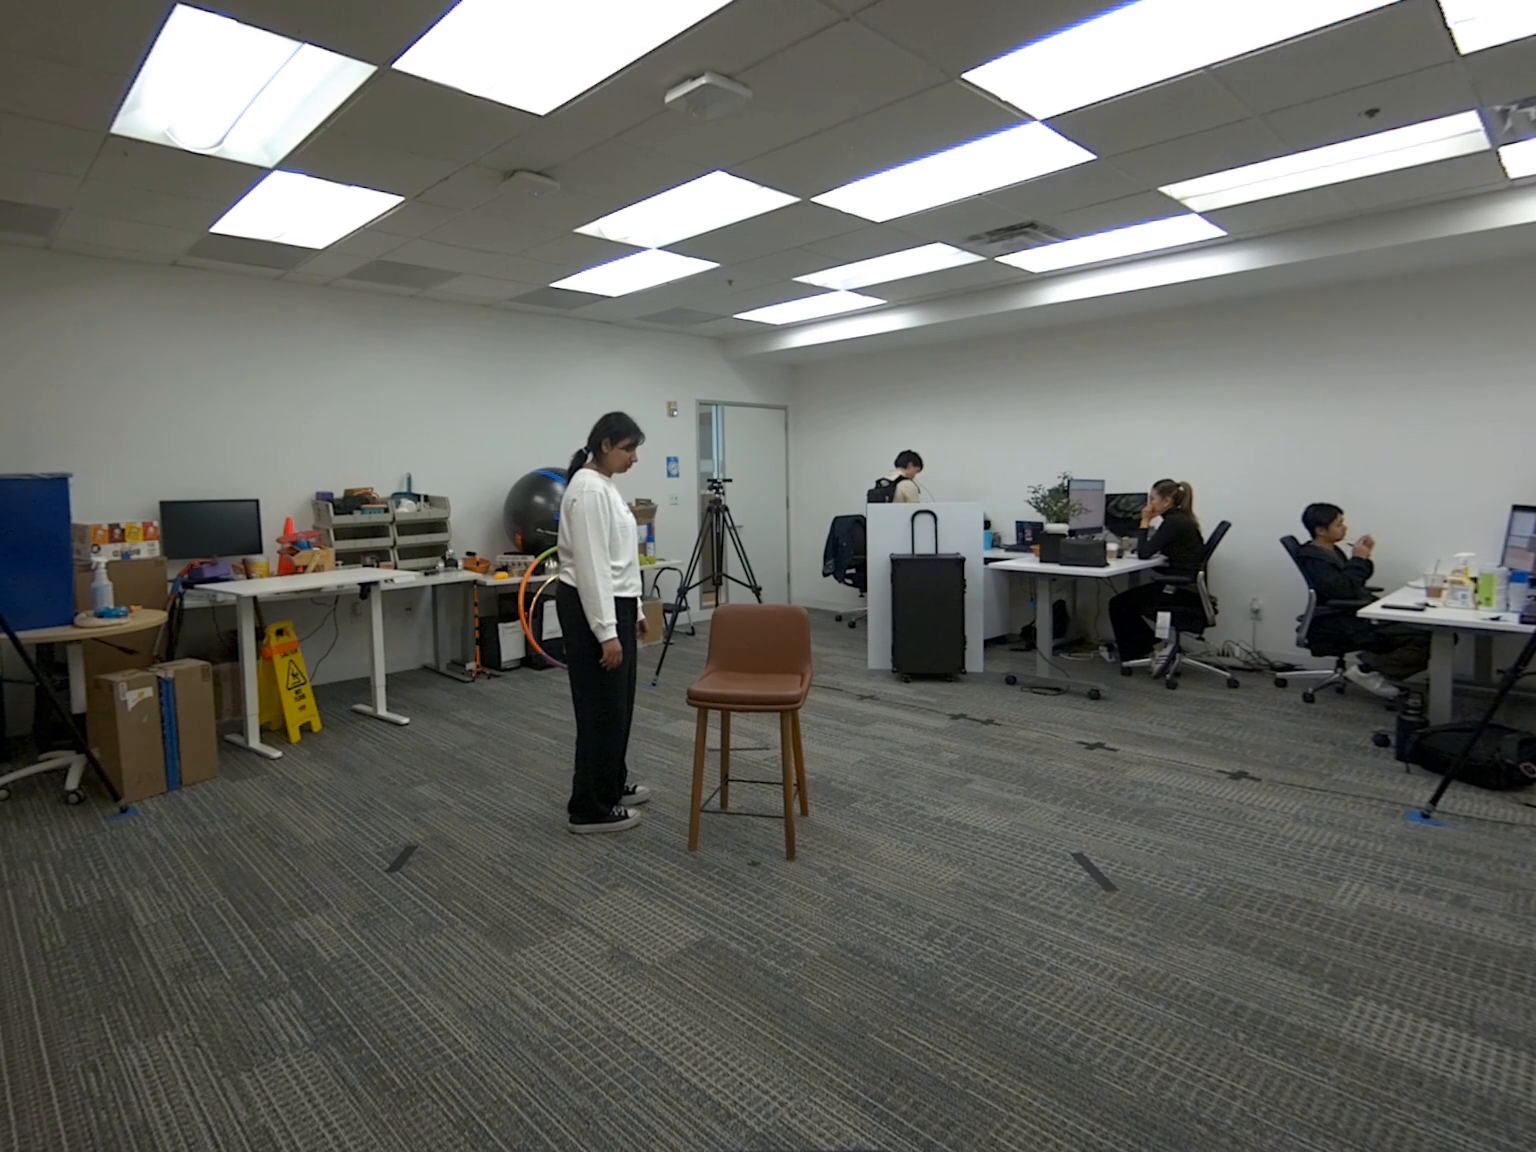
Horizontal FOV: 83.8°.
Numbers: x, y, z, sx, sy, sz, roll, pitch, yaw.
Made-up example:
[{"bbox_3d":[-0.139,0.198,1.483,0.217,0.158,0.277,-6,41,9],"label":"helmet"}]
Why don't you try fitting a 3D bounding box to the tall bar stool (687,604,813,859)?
[{"bbox_3d":[-0.068,0.583,3.368,0.463,0.888,0.462,0,2,14],"label":"tall bar stool"}]
